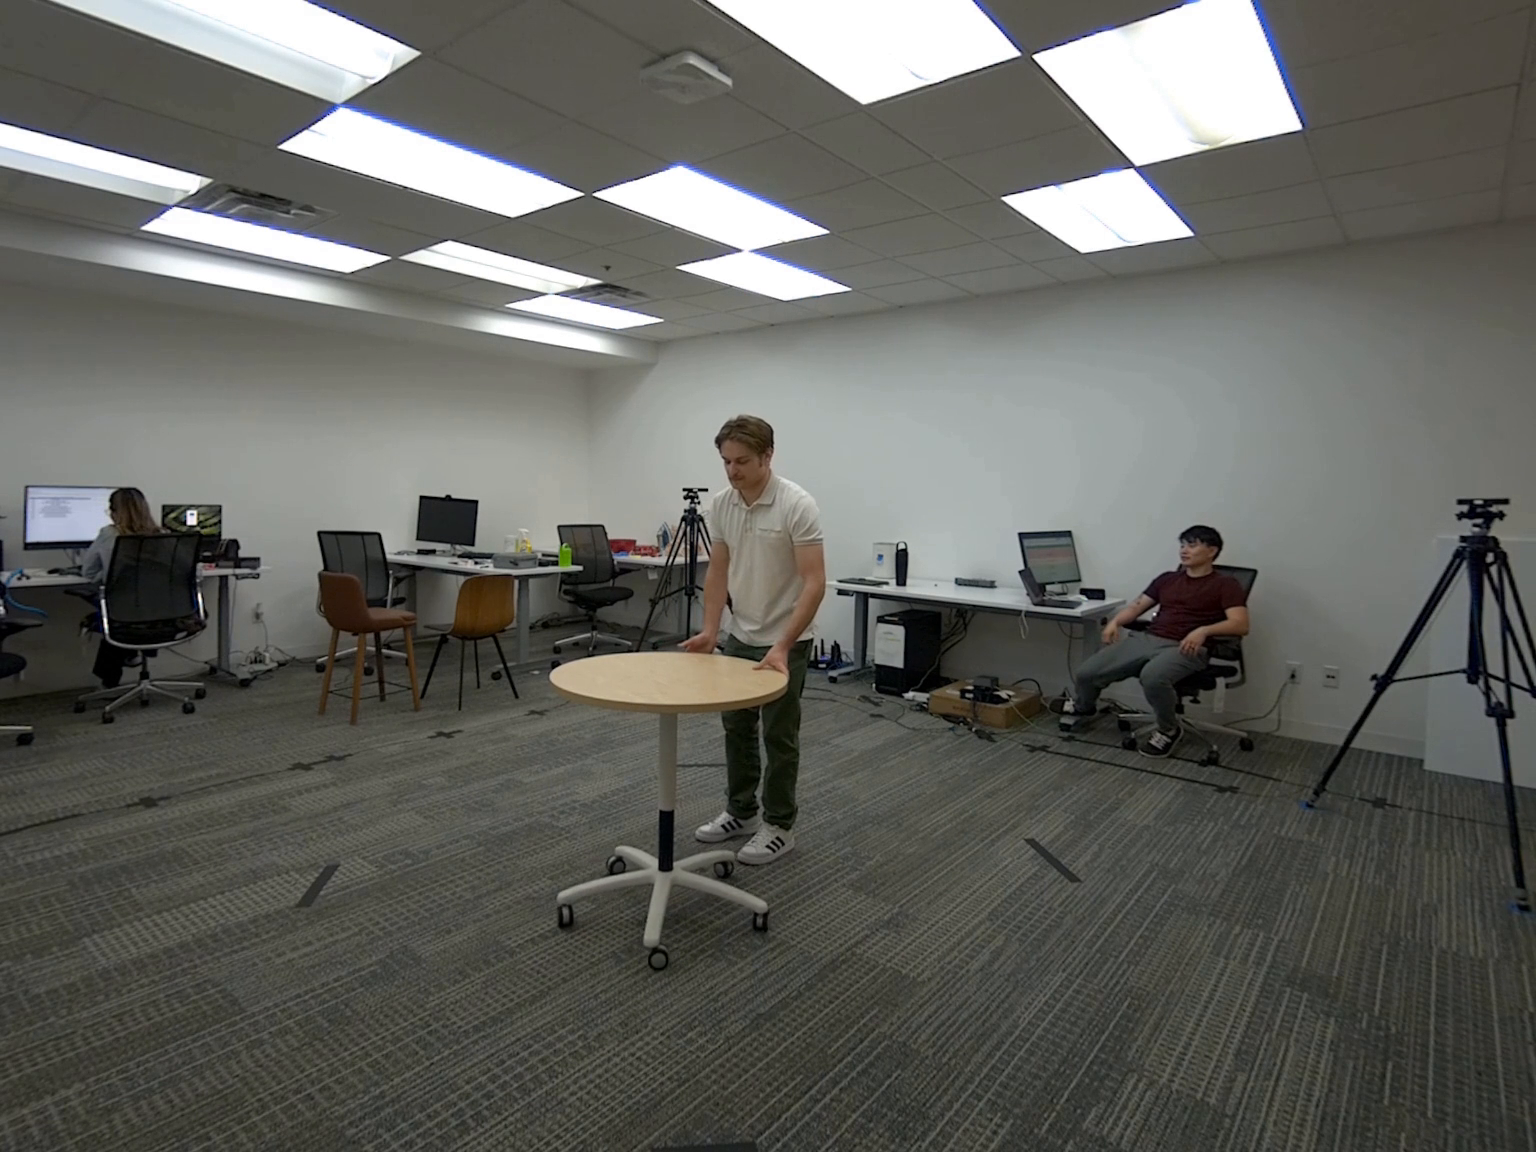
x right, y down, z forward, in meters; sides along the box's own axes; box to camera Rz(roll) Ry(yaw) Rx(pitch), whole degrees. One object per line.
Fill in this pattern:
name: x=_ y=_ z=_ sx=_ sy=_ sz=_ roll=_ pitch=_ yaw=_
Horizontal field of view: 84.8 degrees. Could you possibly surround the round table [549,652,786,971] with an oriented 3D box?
round table: x=-0.344 y=0.710 z=2.774 sx=0.763 sy=0.791 sz=0.768 roll=1 pitch=4 yaw=-2
